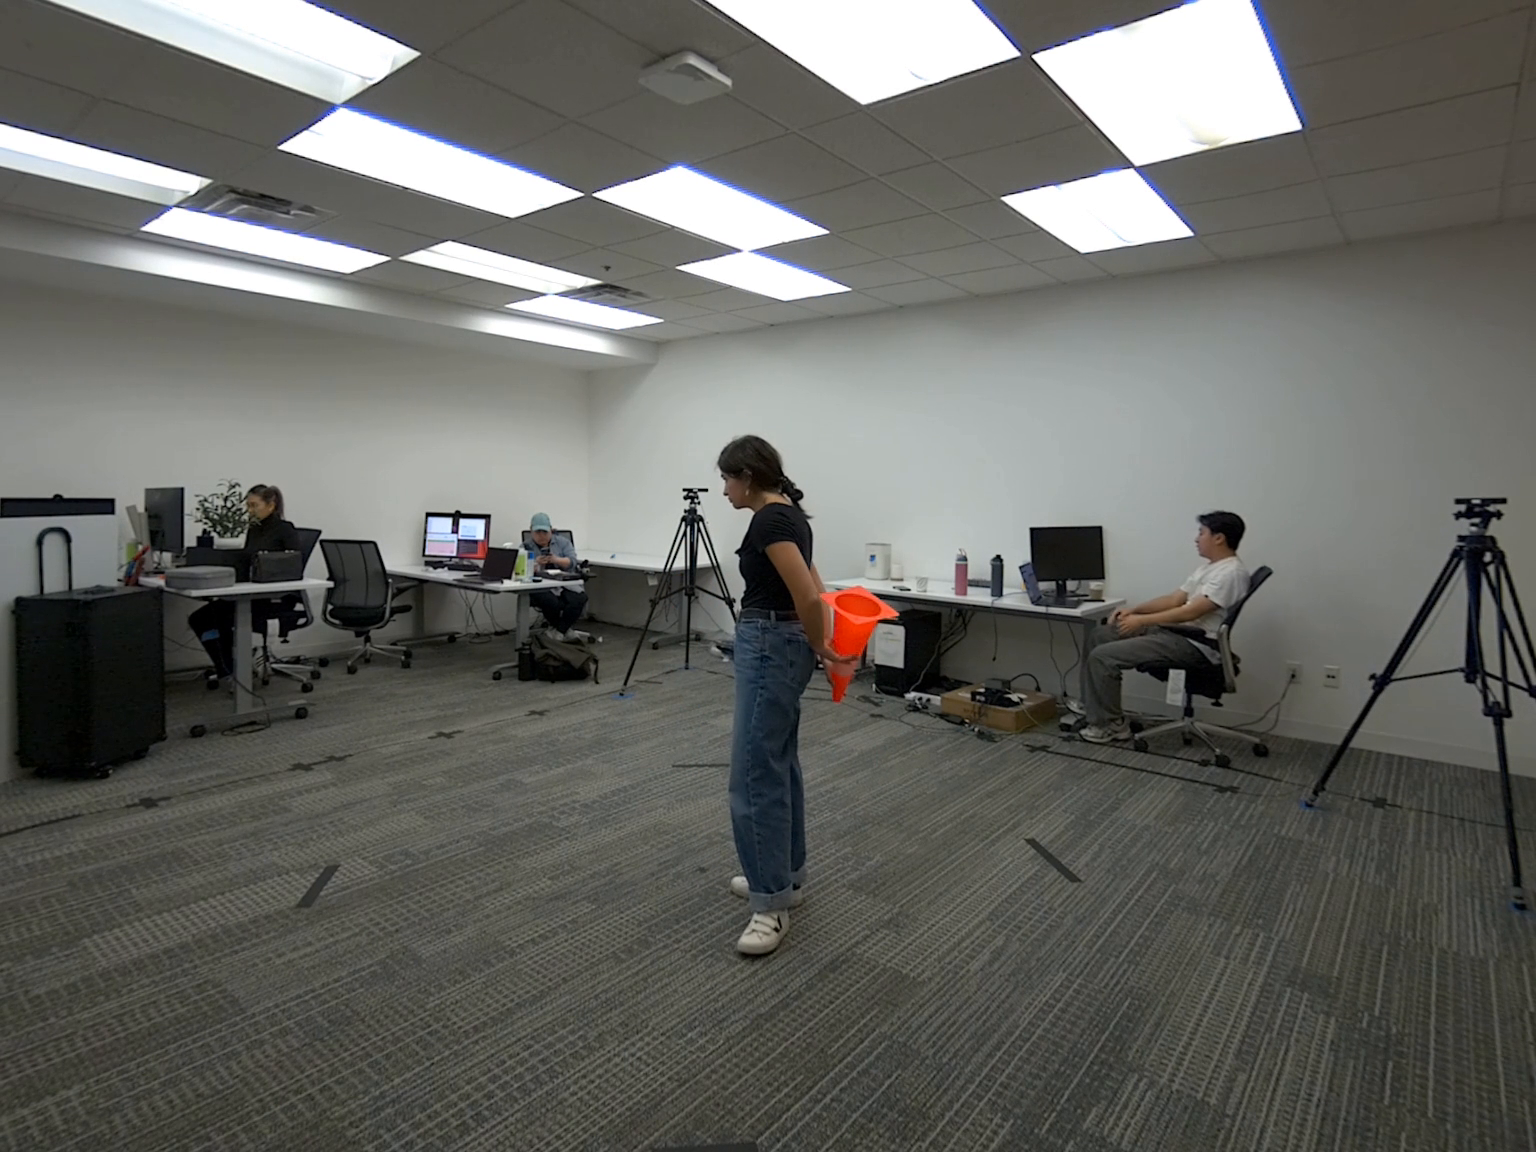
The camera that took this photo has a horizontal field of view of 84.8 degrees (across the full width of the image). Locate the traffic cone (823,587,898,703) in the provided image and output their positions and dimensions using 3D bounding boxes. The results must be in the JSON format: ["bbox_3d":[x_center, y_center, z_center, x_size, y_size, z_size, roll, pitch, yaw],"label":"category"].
[{"bbox_3d":[0.263,0.261,2.860,0.198,0.377,0.214,-6,28,-35],"label":"traffic cone"}]
